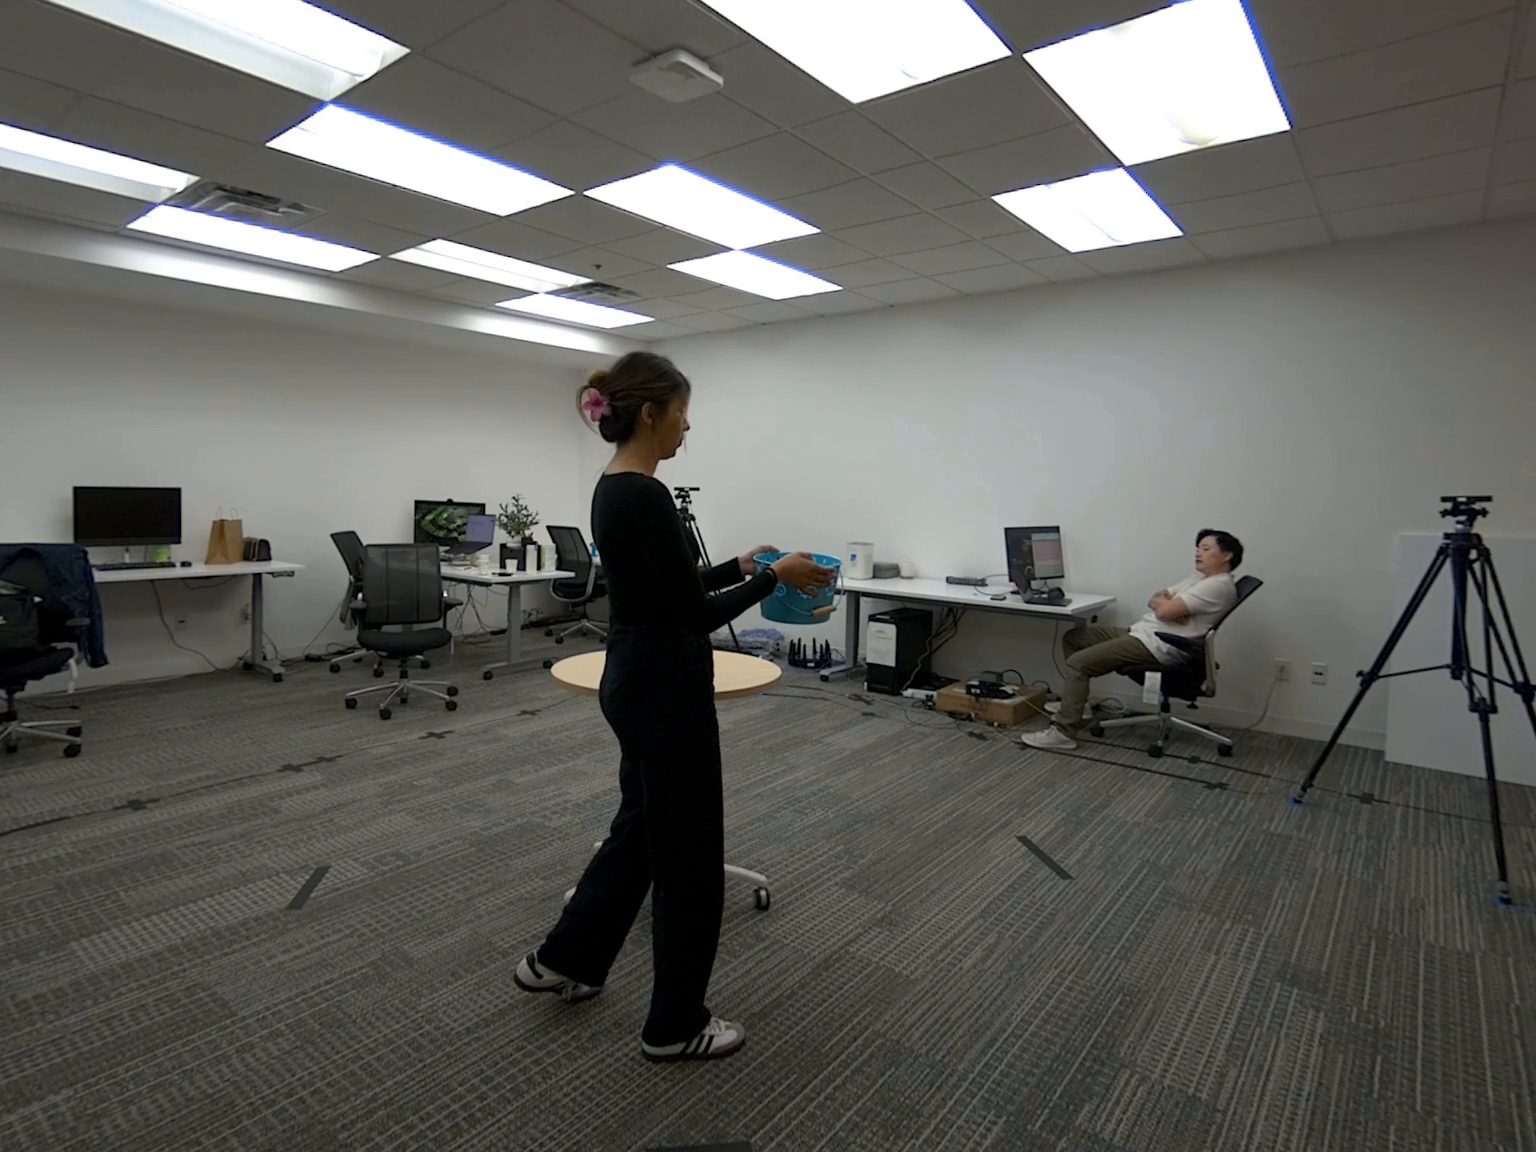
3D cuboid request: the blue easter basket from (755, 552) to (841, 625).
[{"bbox_3d":[0.064,0.035,2.192,0.243,0.155,0.246,2,9,-2],"label":"blue easter basket"}]
